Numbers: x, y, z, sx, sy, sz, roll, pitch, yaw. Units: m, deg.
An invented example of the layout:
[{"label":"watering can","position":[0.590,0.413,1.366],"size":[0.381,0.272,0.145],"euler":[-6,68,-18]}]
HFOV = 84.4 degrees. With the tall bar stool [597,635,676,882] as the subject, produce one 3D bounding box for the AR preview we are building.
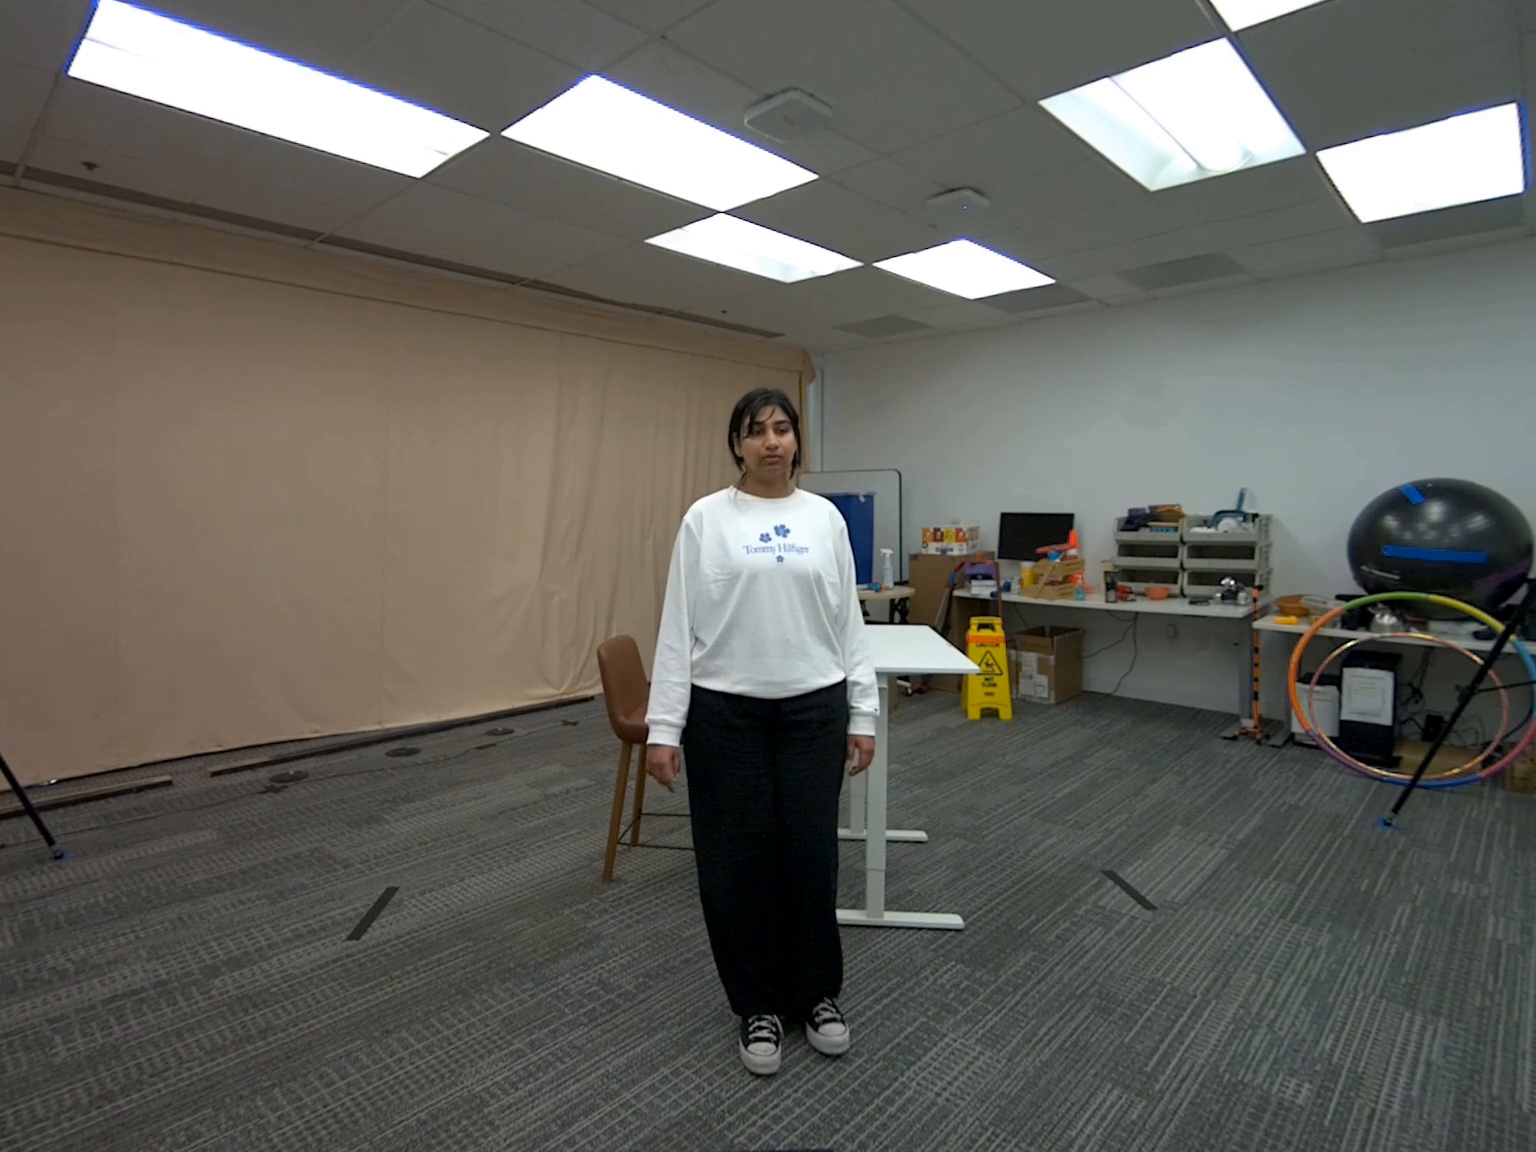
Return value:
[{"label":"tall bar stool","position":[-0.373,0.689,3.242],"size":[0.474,0.888,0.451],"euler":[-2,3,11]}]
